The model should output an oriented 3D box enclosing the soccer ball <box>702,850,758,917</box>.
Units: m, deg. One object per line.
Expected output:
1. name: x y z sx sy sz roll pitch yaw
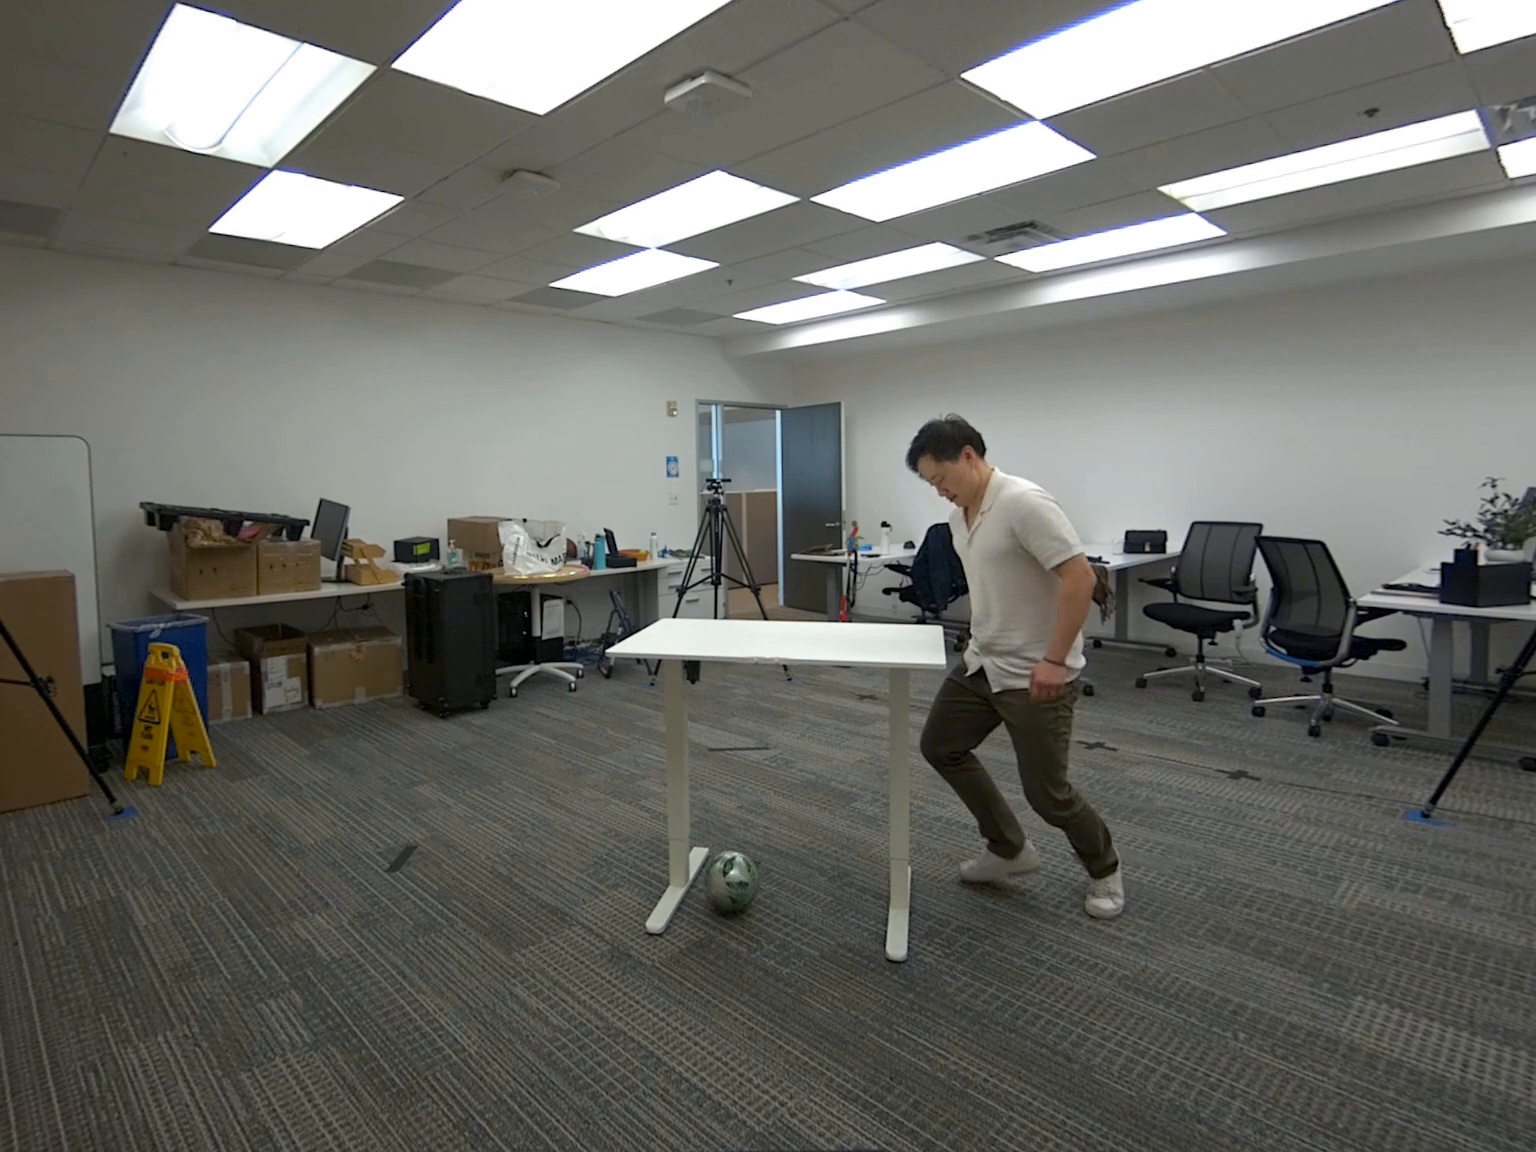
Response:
1. soccer ball: -0.121 0.988 2.772 0.187 0.187 0.188 -1 5 -2
